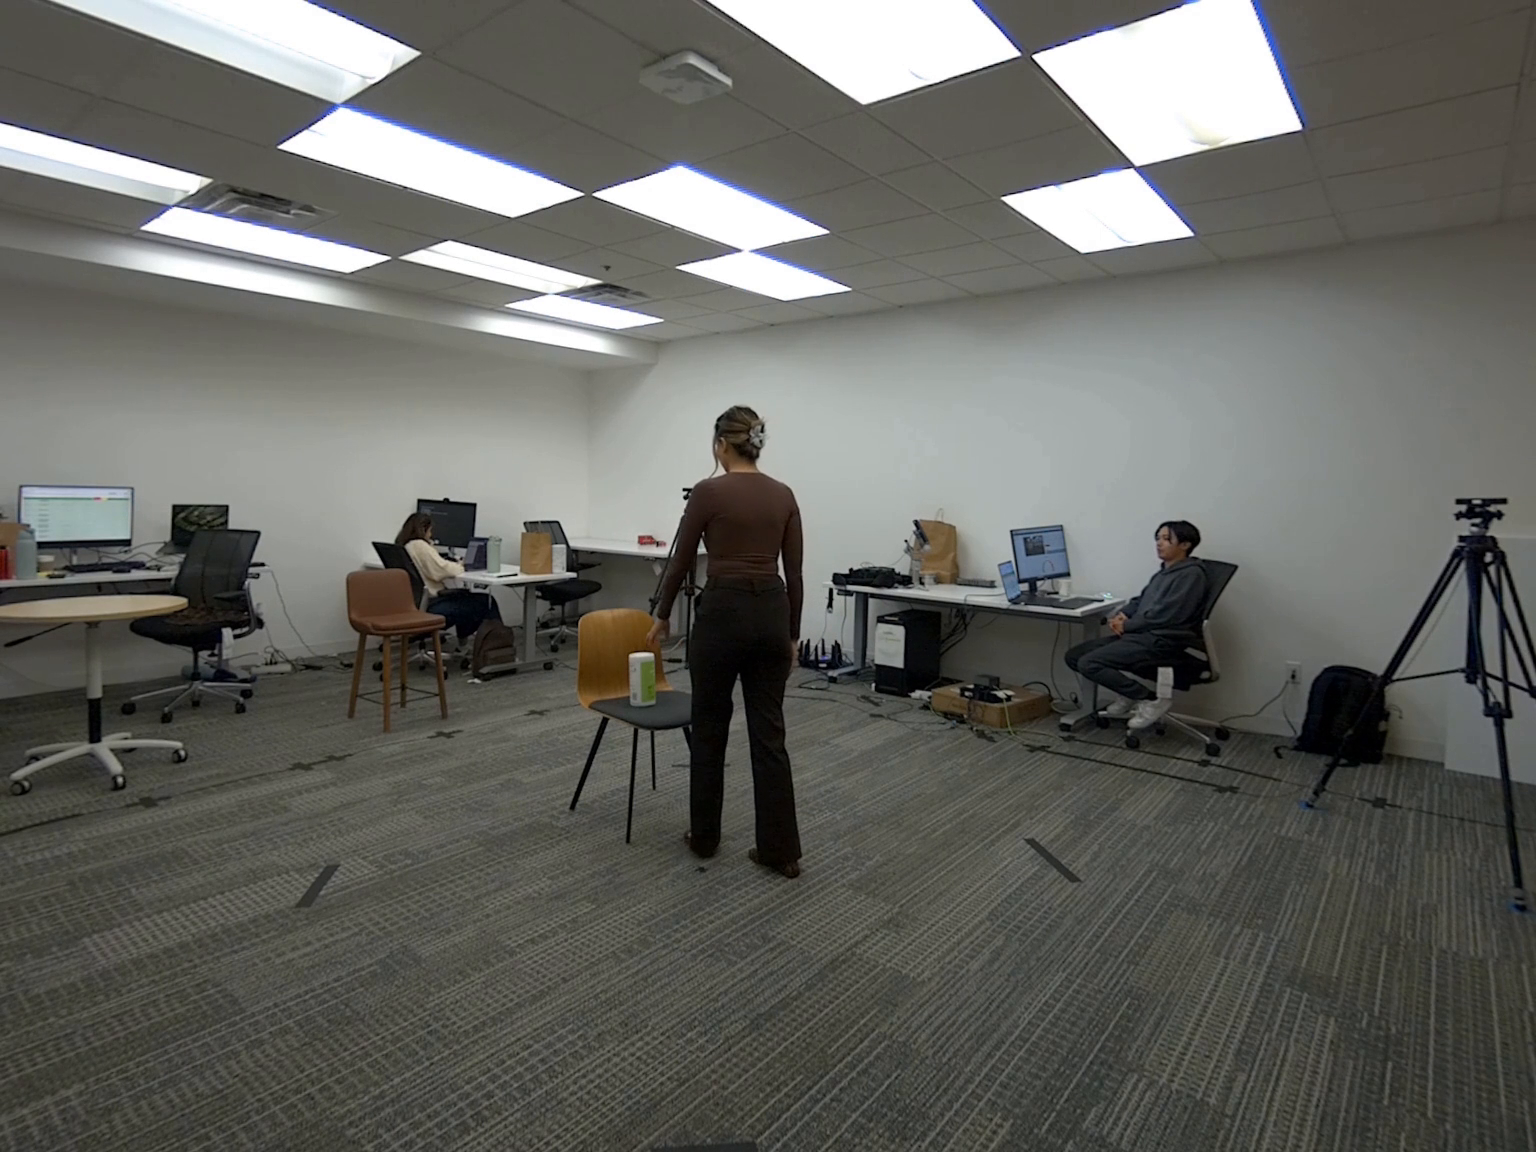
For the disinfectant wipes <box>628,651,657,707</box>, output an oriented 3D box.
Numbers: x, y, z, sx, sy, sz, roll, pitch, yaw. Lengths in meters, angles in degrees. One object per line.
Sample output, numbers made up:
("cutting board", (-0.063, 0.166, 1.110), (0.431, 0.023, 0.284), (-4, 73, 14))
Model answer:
("disinfectant wipes", (-0.558, 0.441, 3.623), (0.118, 0.217, 0.118), (-3, 0, -2))
